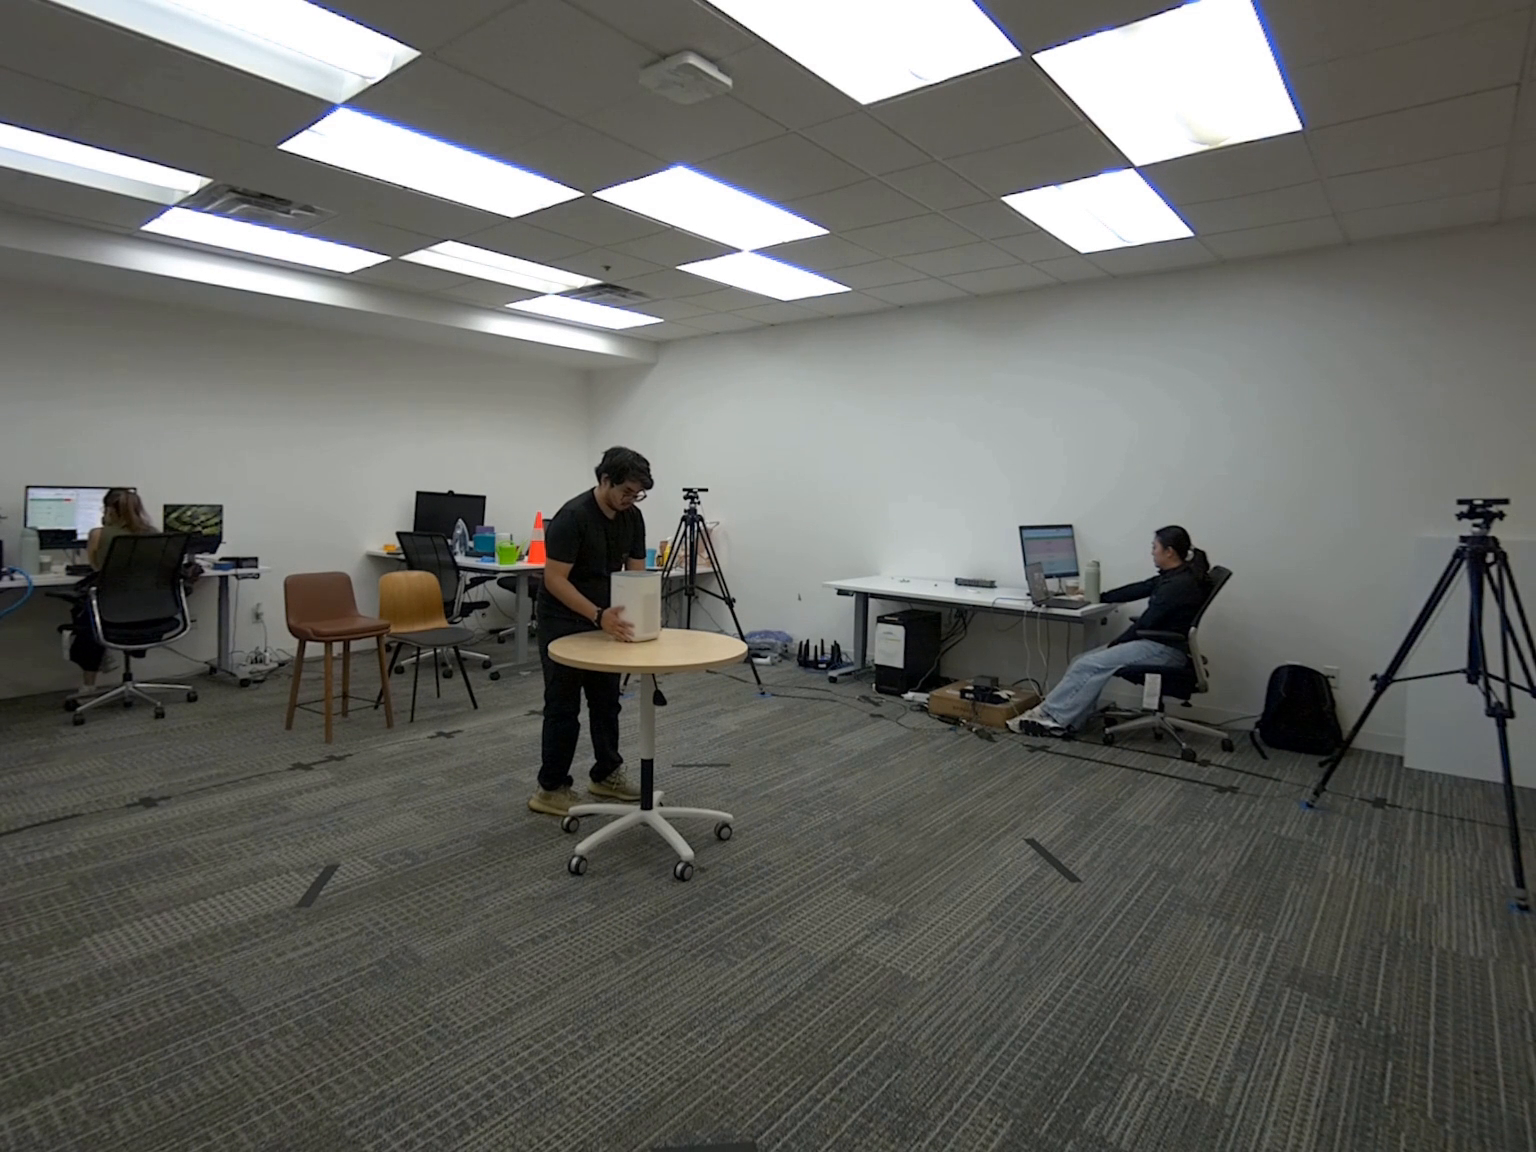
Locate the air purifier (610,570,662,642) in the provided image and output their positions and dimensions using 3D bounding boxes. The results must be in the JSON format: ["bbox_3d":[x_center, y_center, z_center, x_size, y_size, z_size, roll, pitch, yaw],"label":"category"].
[{"bbox_3d":[-0.544,0.117,3.410,0.176,0.265,0.166,3,3,35],"label":"air purifier"}]
